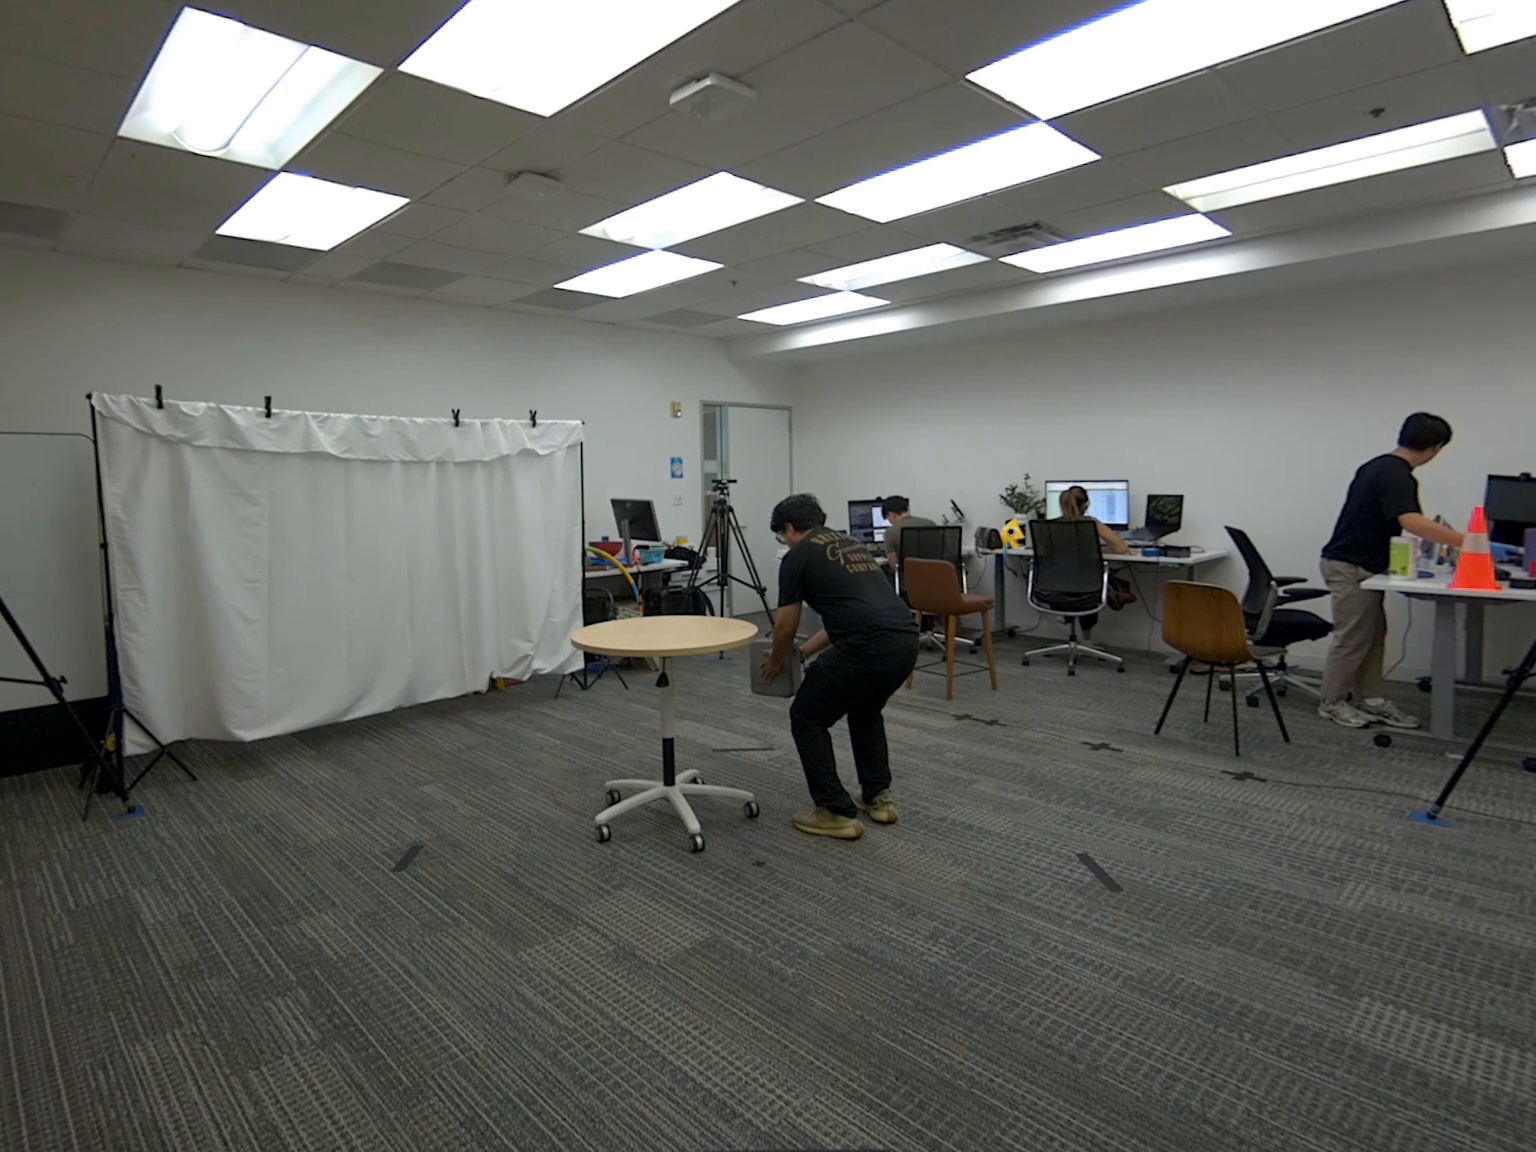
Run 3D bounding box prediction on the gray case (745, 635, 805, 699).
[{"bbox_3d":[0.031,0.401,3.826,0.101,0.261,0.263,-3,-3,-39],"label":"gray case"}]
